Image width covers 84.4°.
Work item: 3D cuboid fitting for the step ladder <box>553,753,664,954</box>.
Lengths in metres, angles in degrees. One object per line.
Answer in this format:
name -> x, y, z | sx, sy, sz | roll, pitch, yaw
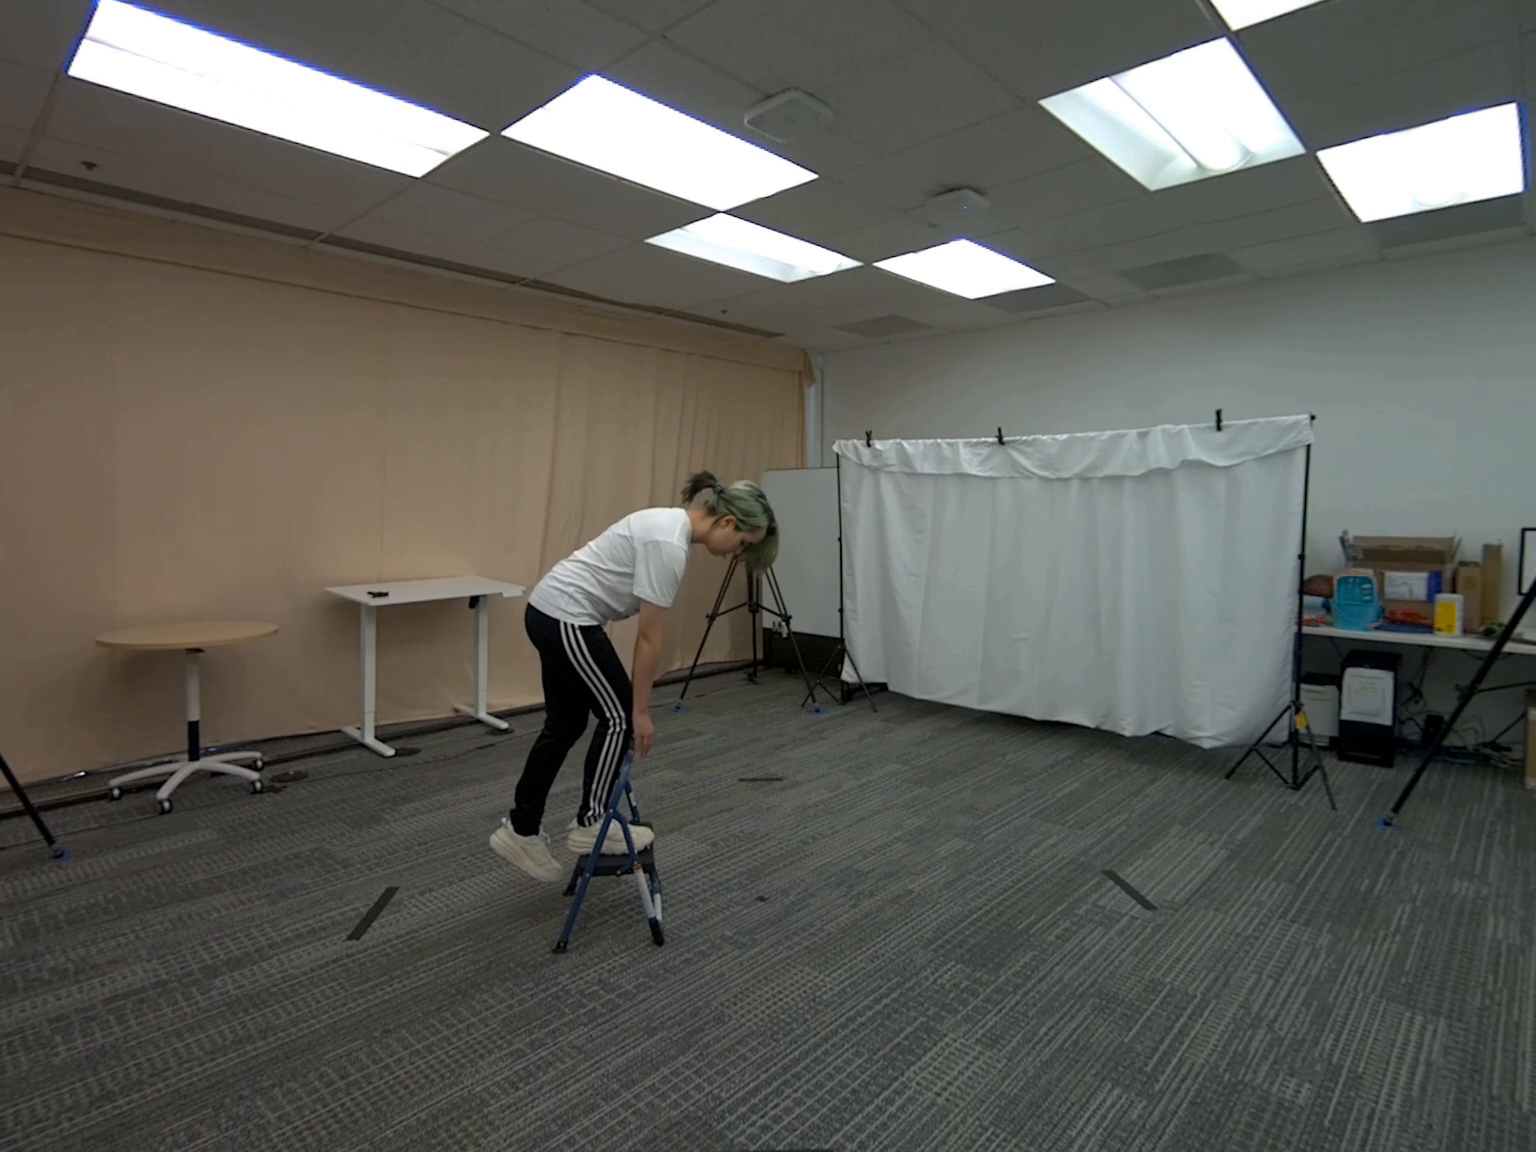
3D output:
step ladder -> -0.532, 0.864, 2.838 | 0.347, 0.605, 0.435 | -1, 3, -8
